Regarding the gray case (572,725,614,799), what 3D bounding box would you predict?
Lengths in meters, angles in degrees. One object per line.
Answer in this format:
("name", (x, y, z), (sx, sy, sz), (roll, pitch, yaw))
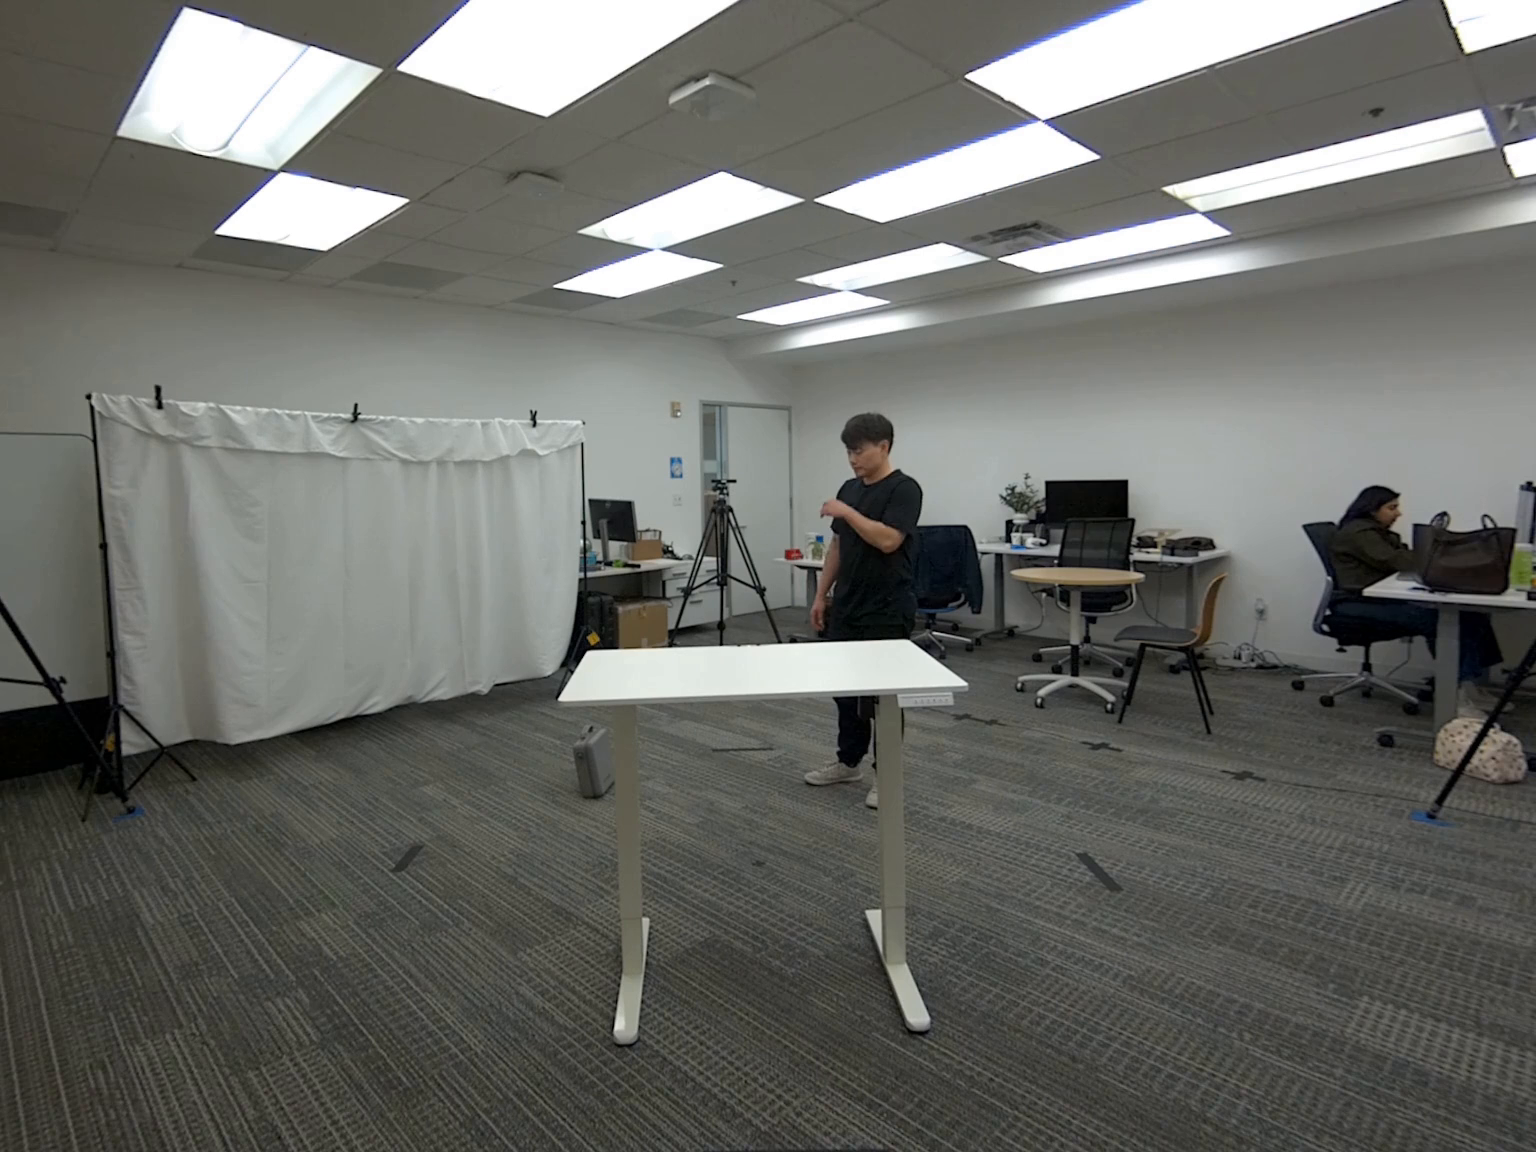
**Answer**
("gray case", (-0.786, 0.843, 3.899), (0.105, 0.260, 0.255), (-9, 3, 8))
